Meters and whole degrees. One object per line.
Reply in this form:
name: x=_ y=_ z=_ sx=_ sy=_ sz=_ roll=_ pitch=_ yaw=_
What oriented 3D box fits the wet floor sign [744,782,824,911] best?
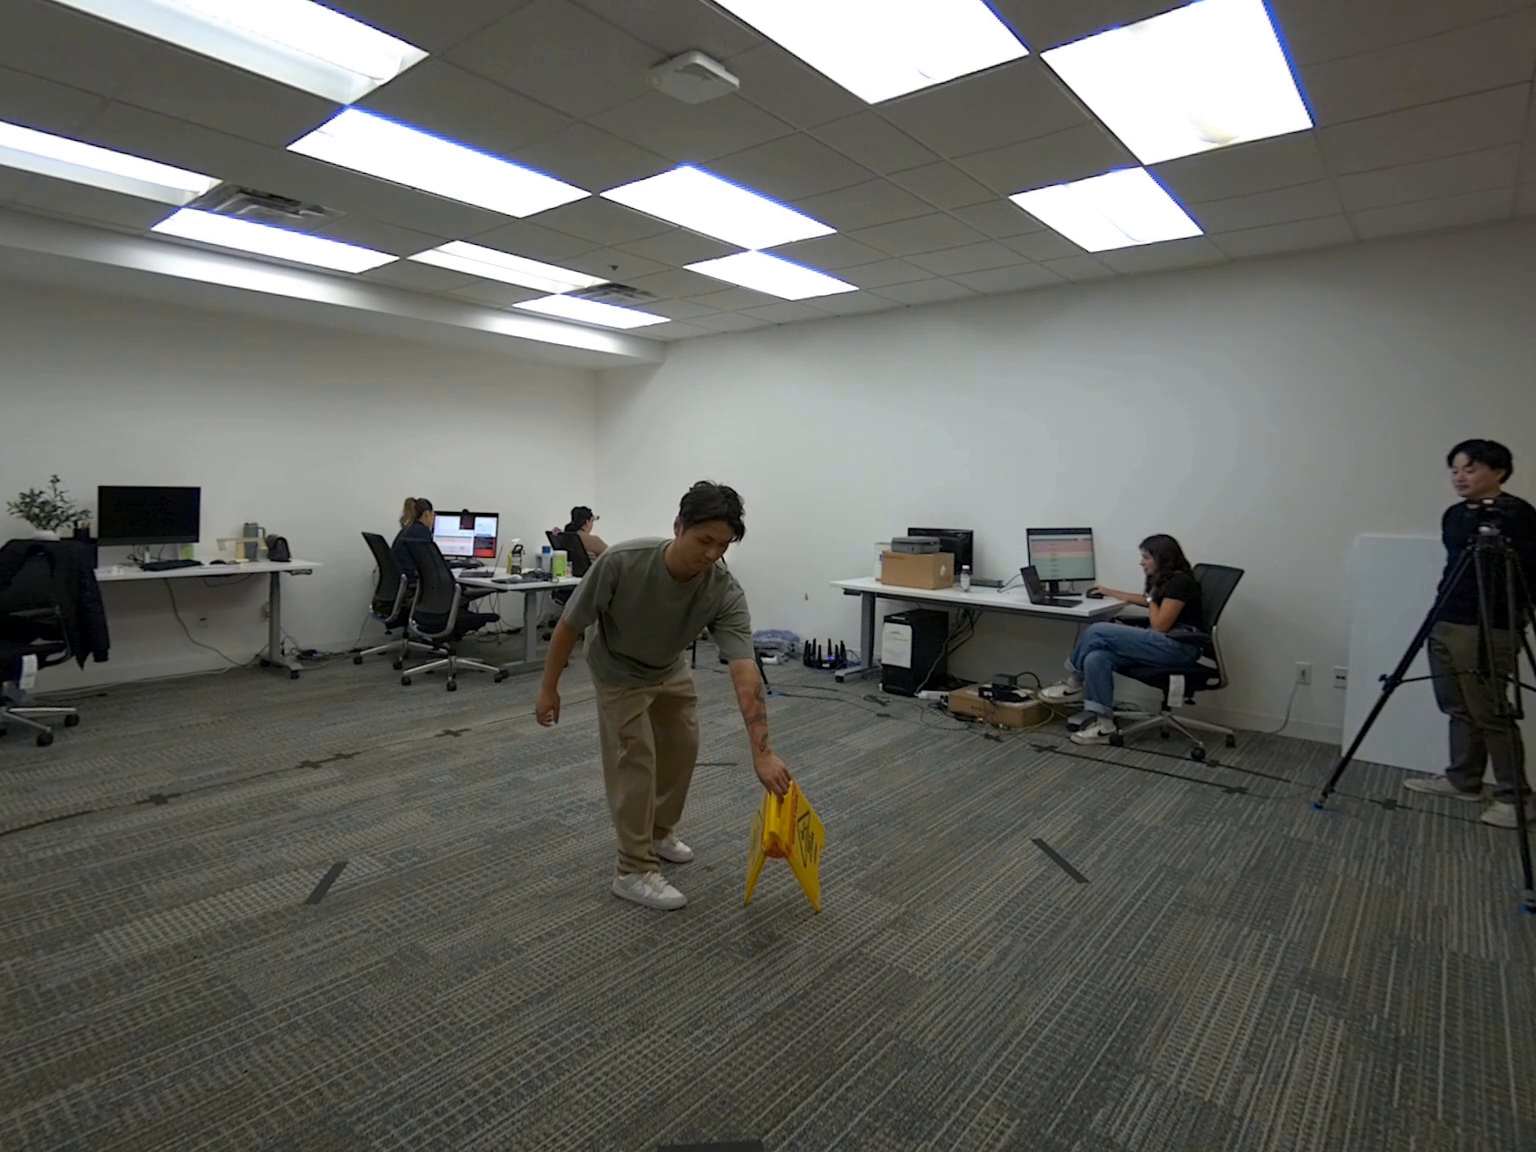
wet floor sign: x=0.037 y=0.804 z=2.658 sx=0.292 sy=0.289 sz=0.626 roll=3 pitch=-36 yaw=6
